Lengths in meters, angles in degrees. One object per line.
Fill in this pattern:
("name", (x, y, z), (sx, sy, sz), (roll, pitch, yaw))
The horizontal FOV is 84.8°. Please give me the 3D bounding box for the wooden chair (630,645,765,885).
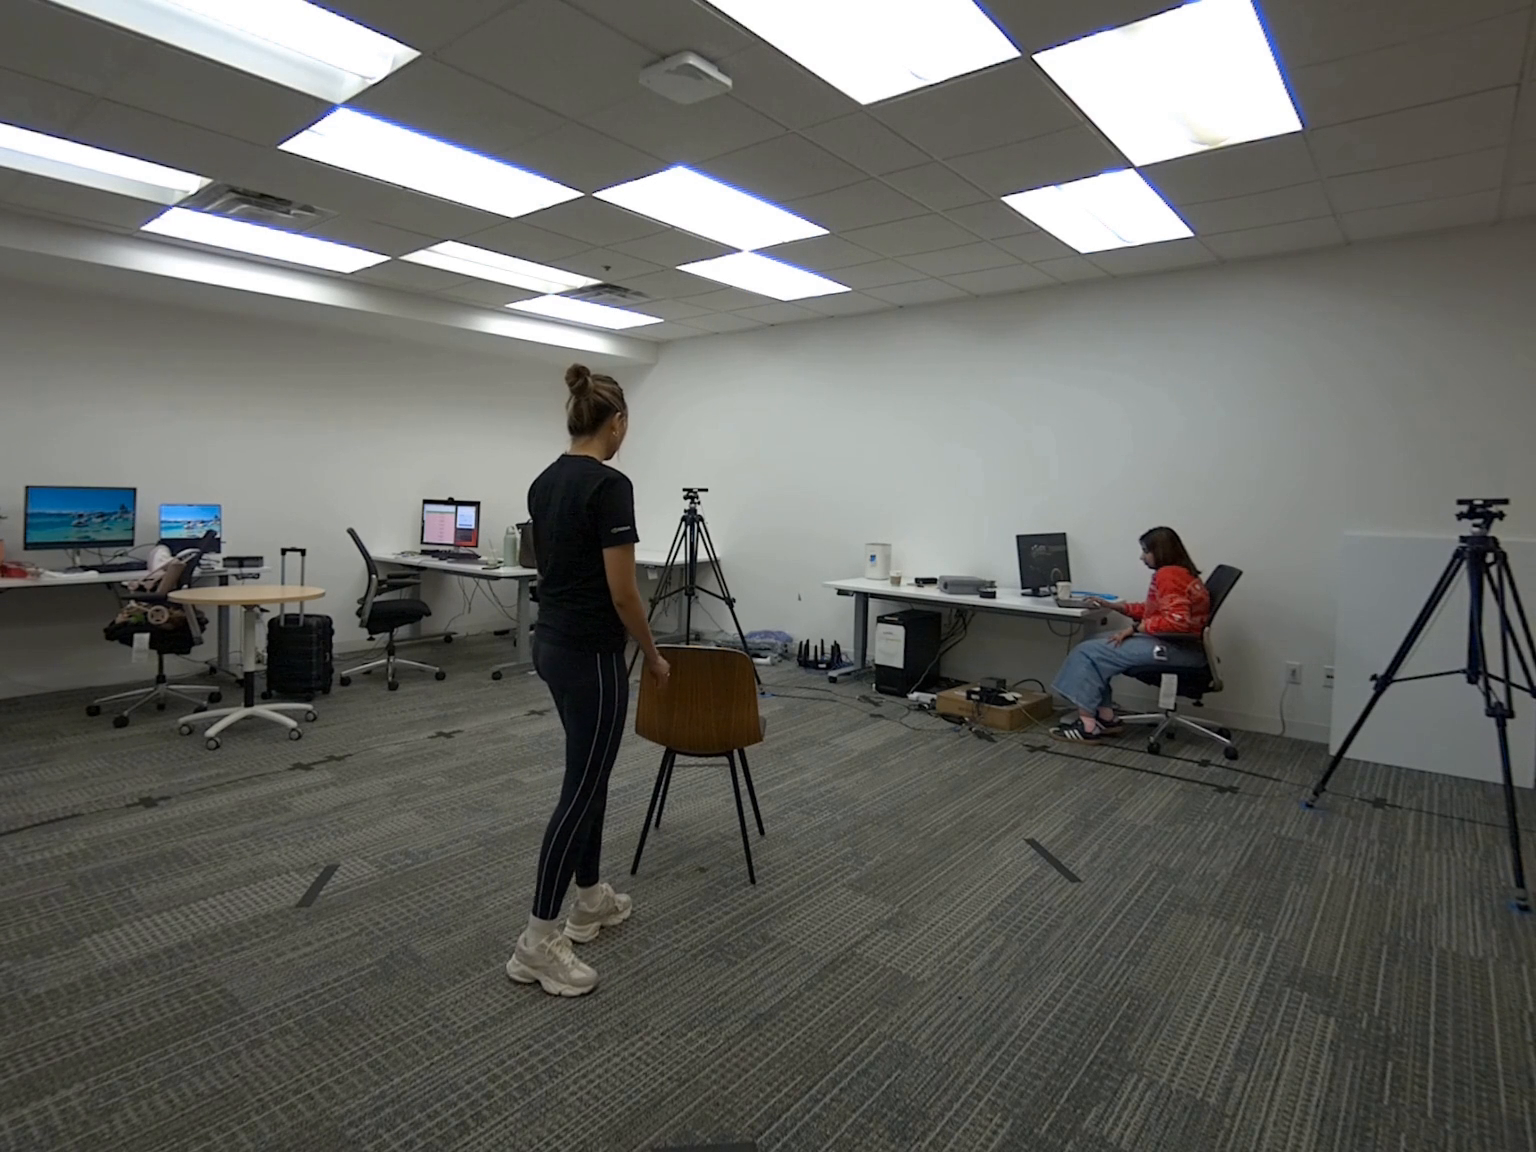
("wooden chair", (-0.257, 0.629, 3.227), (0.482, 0.872, 0.523), (1, 7, 6))
